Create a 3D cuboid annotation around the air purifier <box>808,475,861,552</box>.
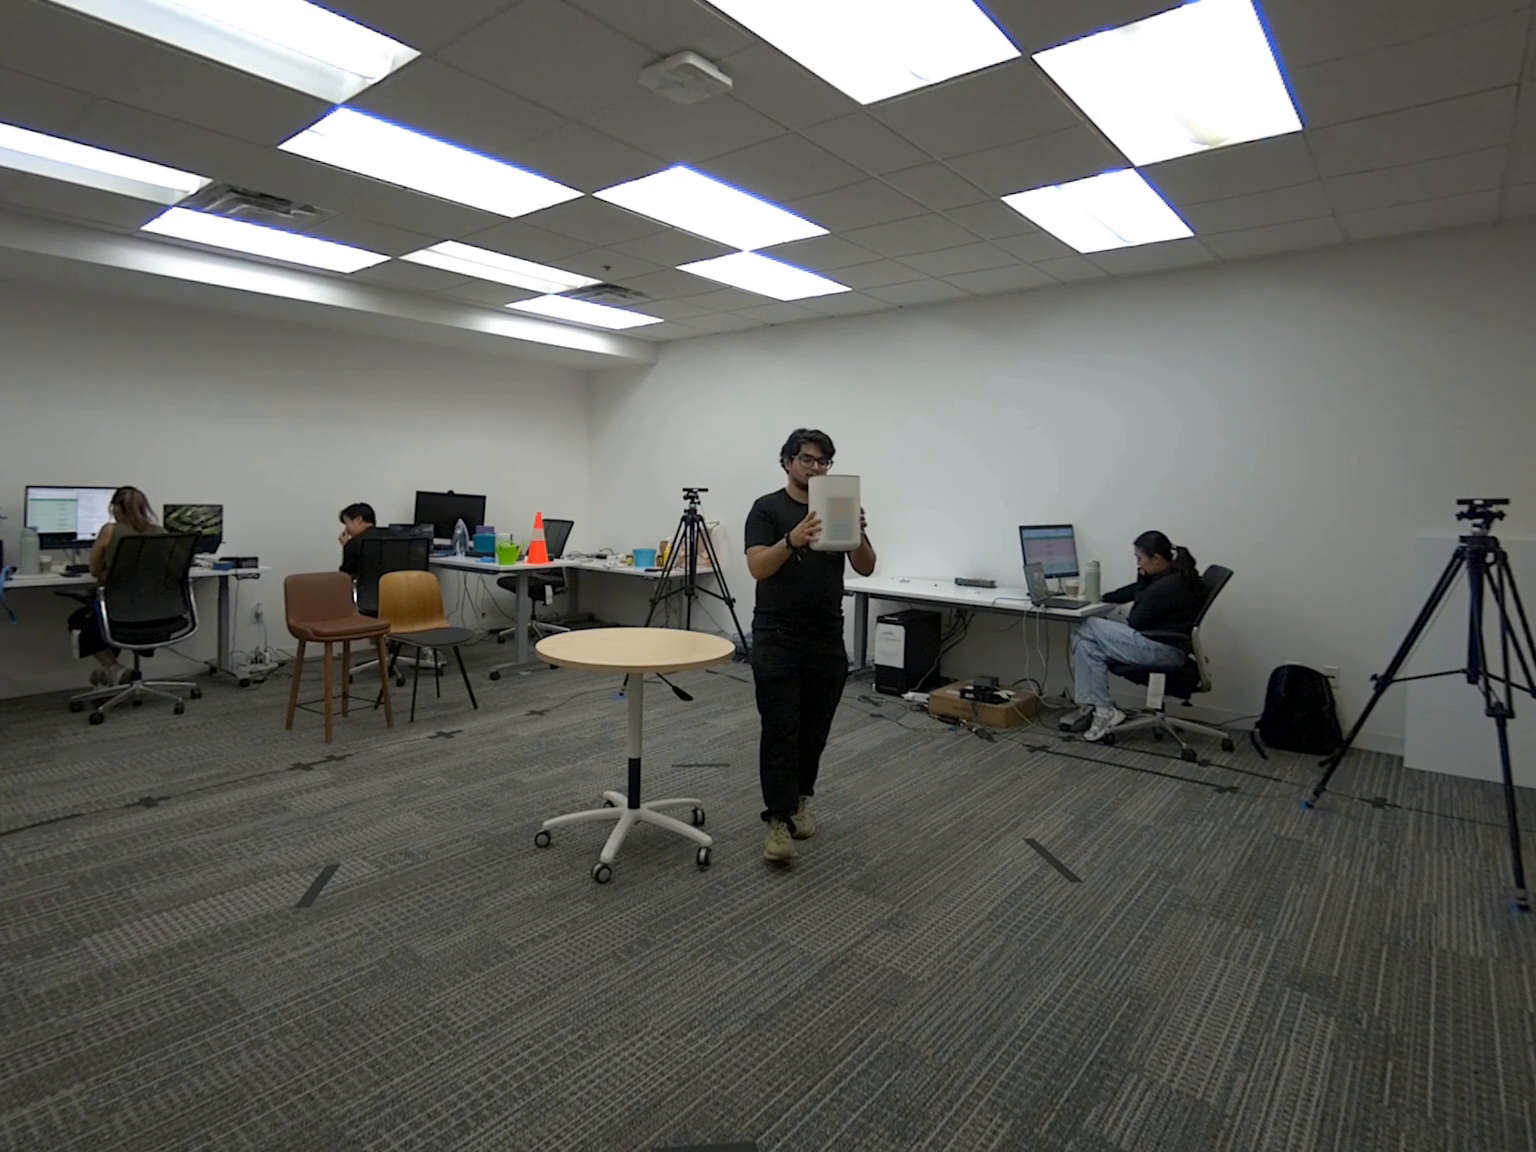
[{"bbox_3d":[0.235,-0.224,3.063,0.170,0.266,0.172,2,-2,-11],"label":"air purifier"}]
